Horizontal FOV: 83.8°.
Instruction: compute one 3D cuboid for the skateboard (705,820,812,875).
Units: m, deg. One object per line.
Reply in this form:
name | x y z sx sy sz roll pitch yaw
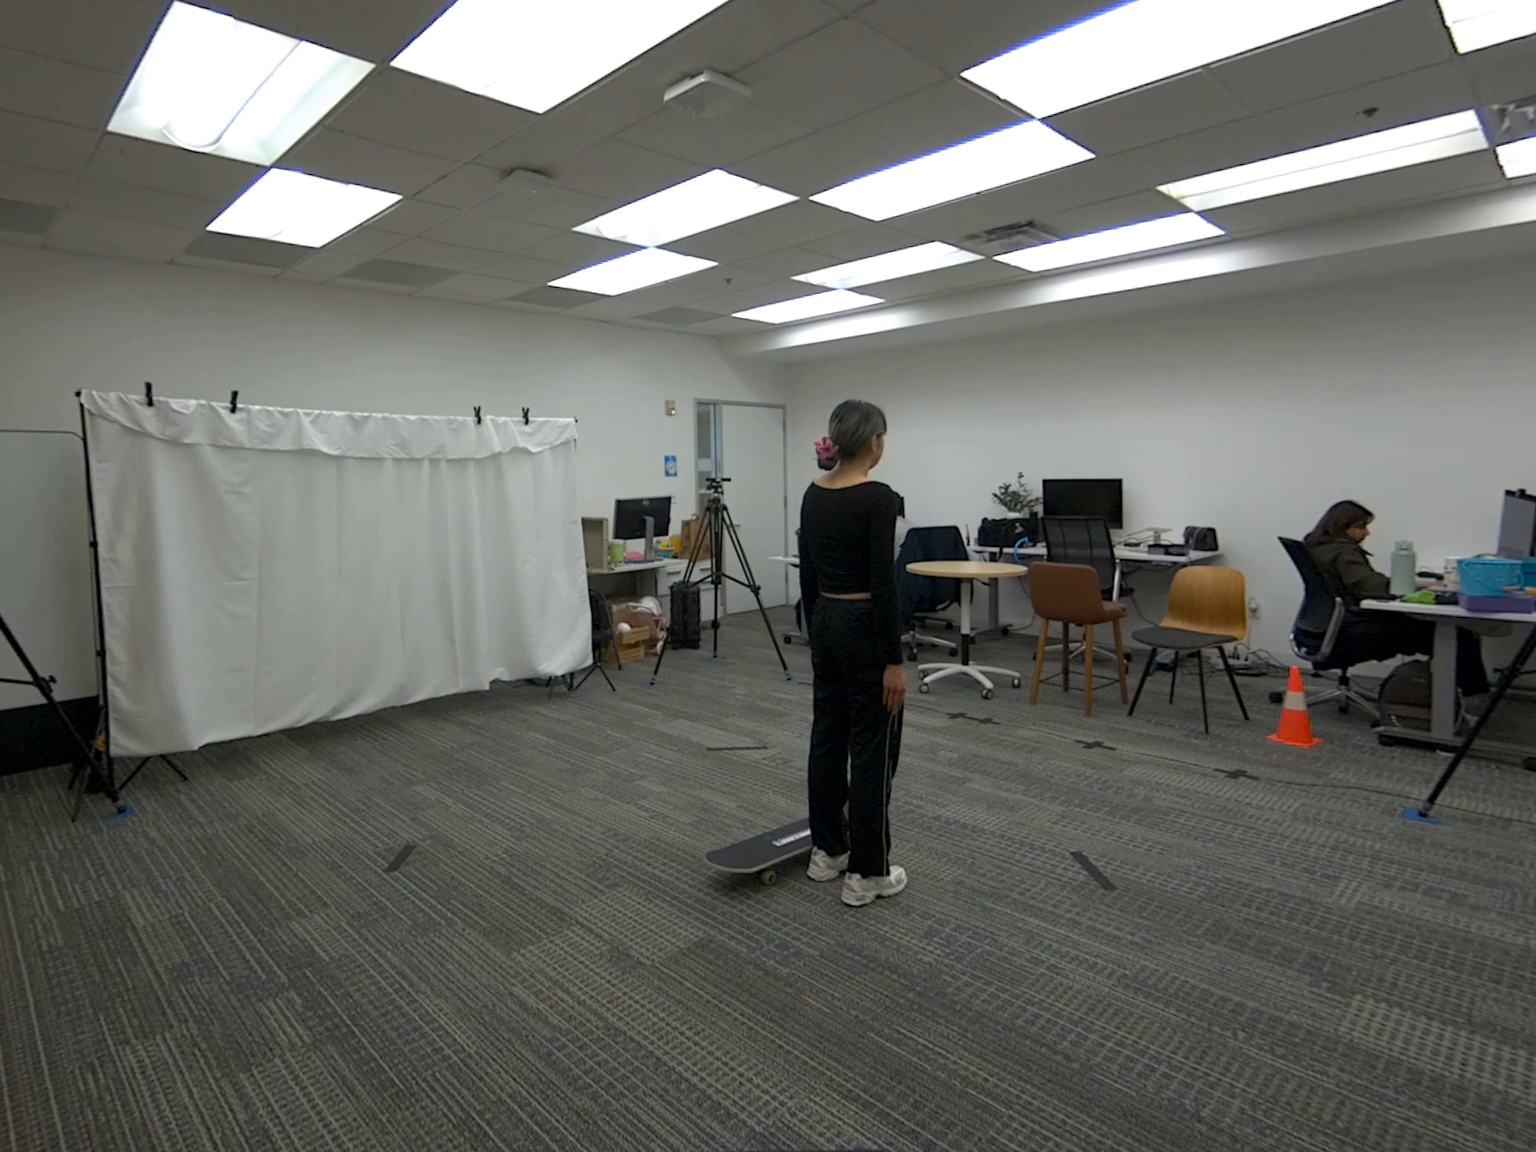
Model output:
skateboard | 0.099 0.978 3.125 0.765 0.110 0.199 -7 7 -39
